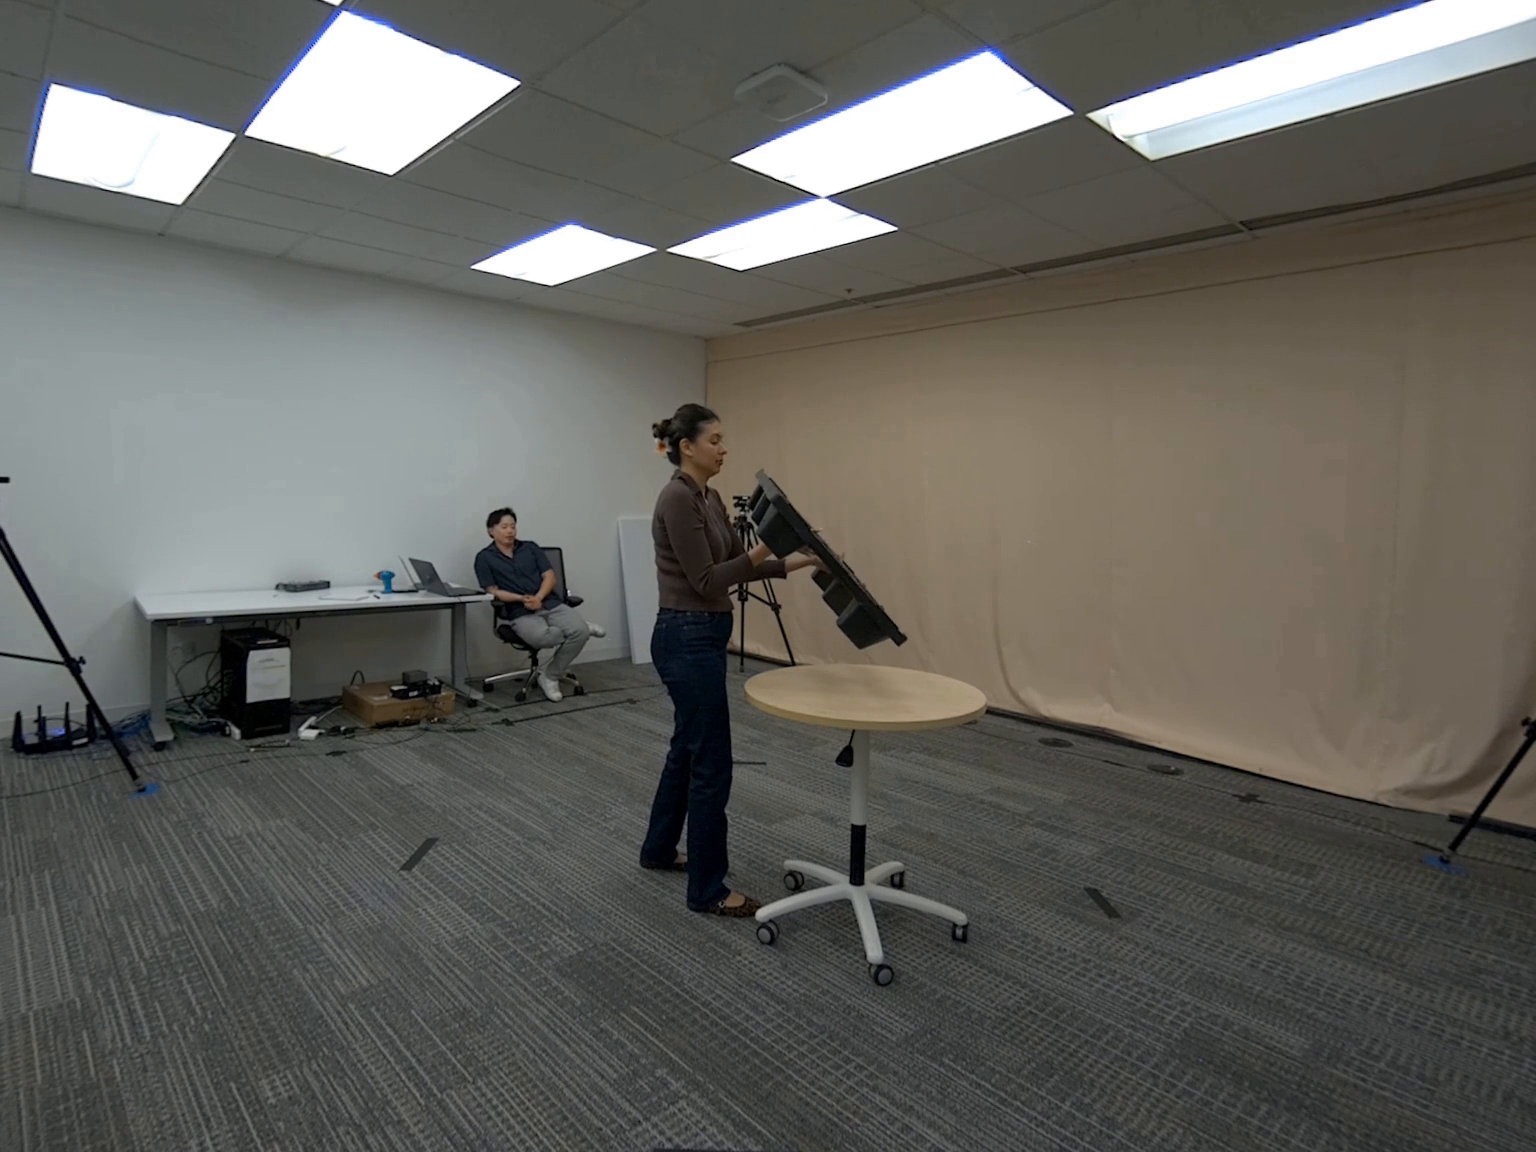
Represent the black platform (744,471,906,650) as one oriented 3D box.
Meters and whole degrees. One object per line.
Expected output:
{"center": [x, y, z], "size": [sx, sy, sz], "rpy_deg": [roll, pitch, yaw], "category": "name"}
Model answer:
{"center": [0.141, -0.065, 2.847], "size": [0.143, 0.600, 0.812], "rpy_deg": [-39, 9, 4], "category": "black platform"}
